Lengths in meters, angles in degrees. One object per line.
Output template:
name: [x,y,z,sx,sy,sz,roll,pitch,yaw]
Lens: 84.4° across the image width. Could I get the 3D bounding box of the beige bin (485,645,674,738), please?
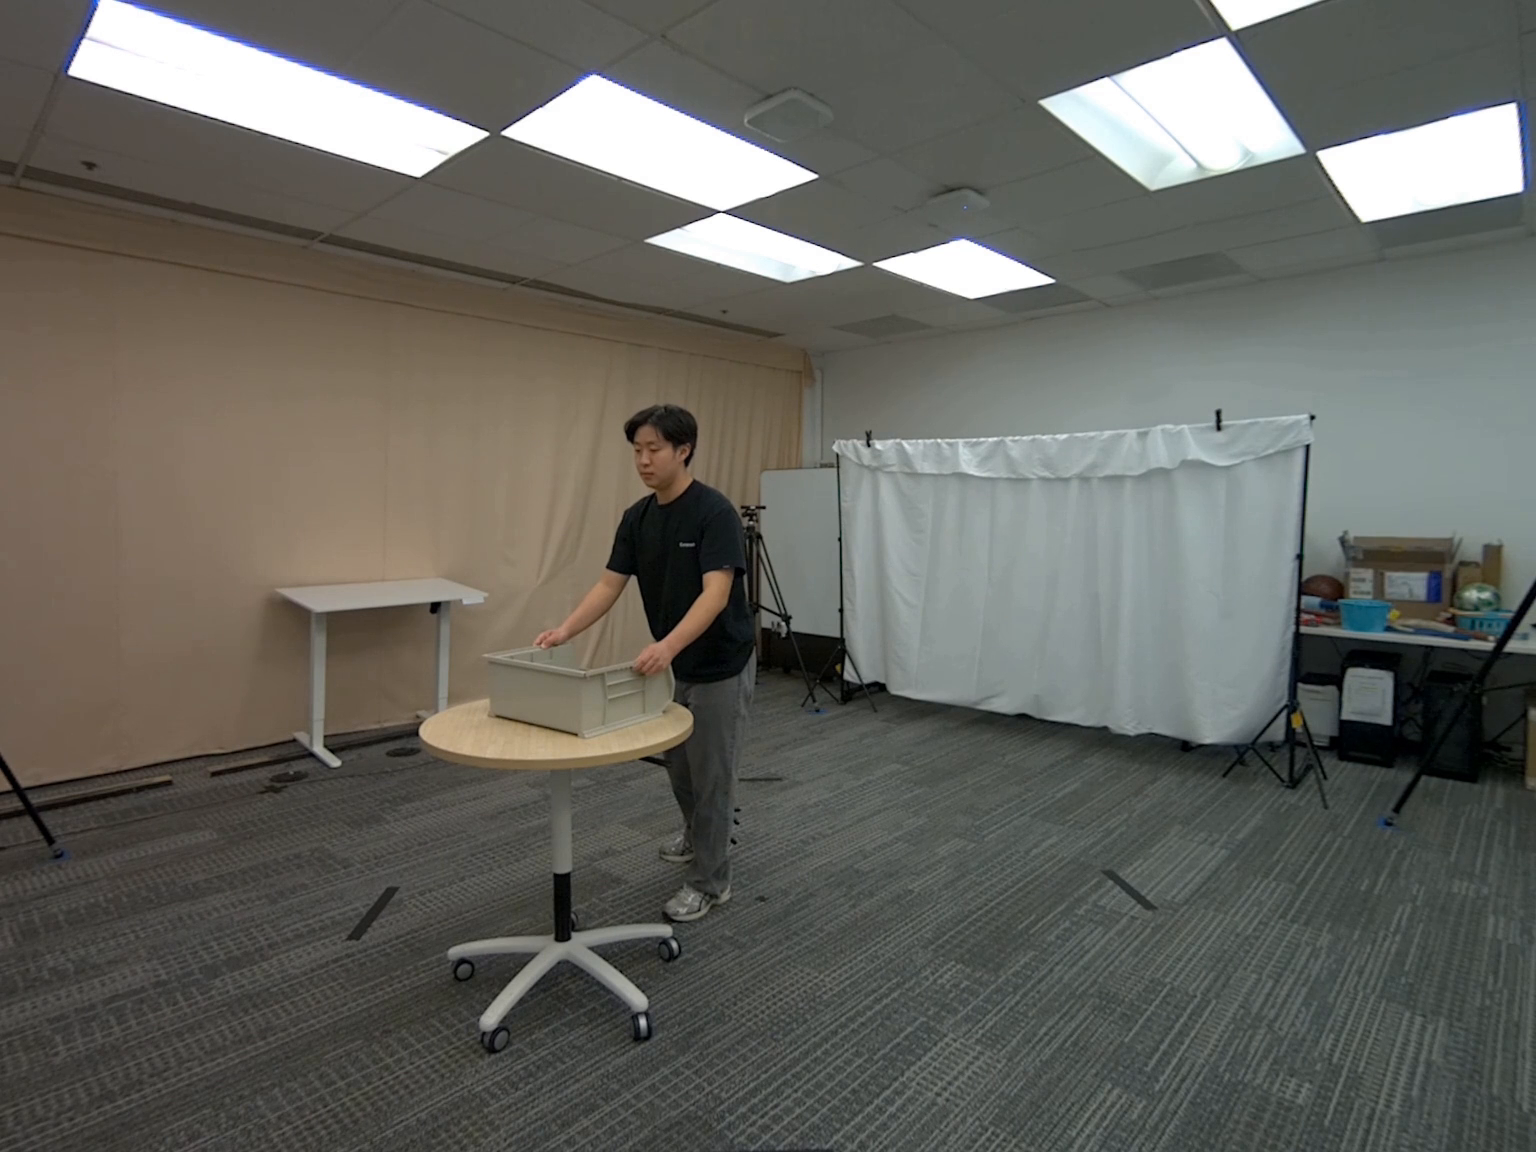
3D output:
beige bin: [-0.553,0.320,2.471,0.436,0.188,0.366,4,7,36]
